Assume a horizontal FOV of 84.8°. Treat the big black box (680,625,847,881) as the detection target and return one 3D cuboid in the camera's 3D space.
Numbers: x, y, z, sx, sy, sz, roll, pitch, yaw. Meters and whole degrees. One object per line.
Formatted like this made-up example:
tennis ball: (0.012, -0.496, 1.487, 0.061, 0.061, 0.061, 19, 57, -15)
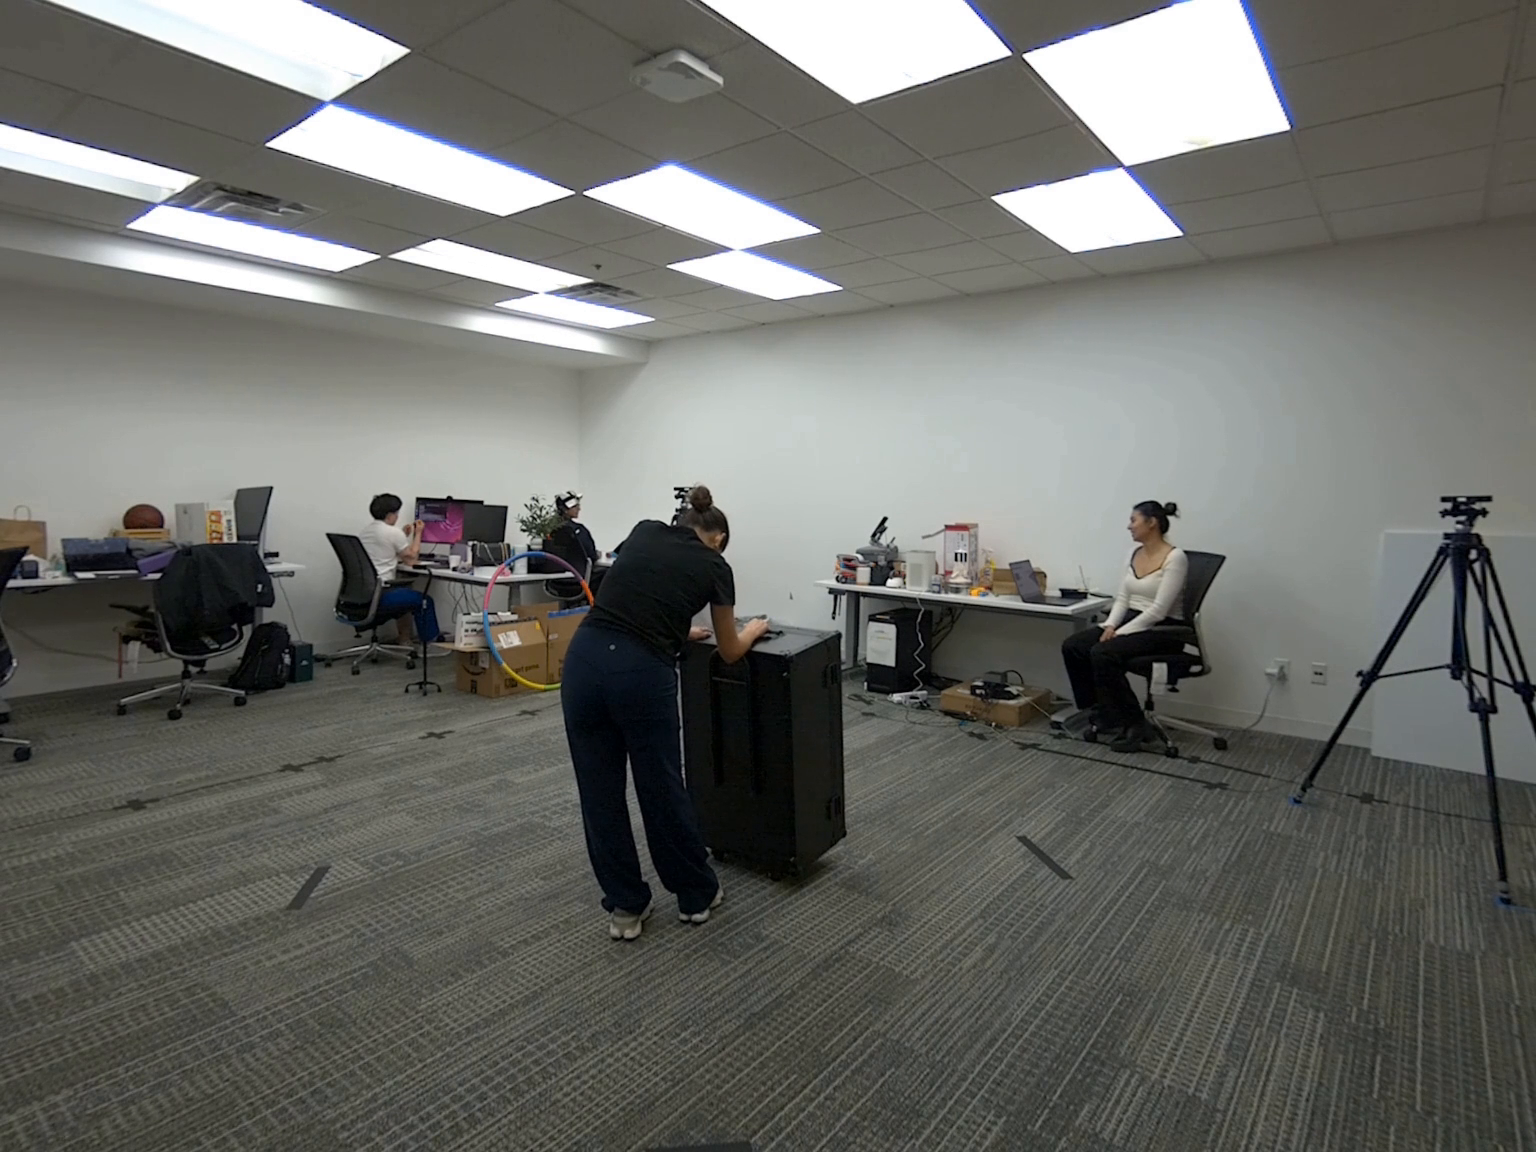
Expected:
big black box: (0.001, 0.630, 3.163, 0.538, 0.855, 0.387, 3, 9, 36)
